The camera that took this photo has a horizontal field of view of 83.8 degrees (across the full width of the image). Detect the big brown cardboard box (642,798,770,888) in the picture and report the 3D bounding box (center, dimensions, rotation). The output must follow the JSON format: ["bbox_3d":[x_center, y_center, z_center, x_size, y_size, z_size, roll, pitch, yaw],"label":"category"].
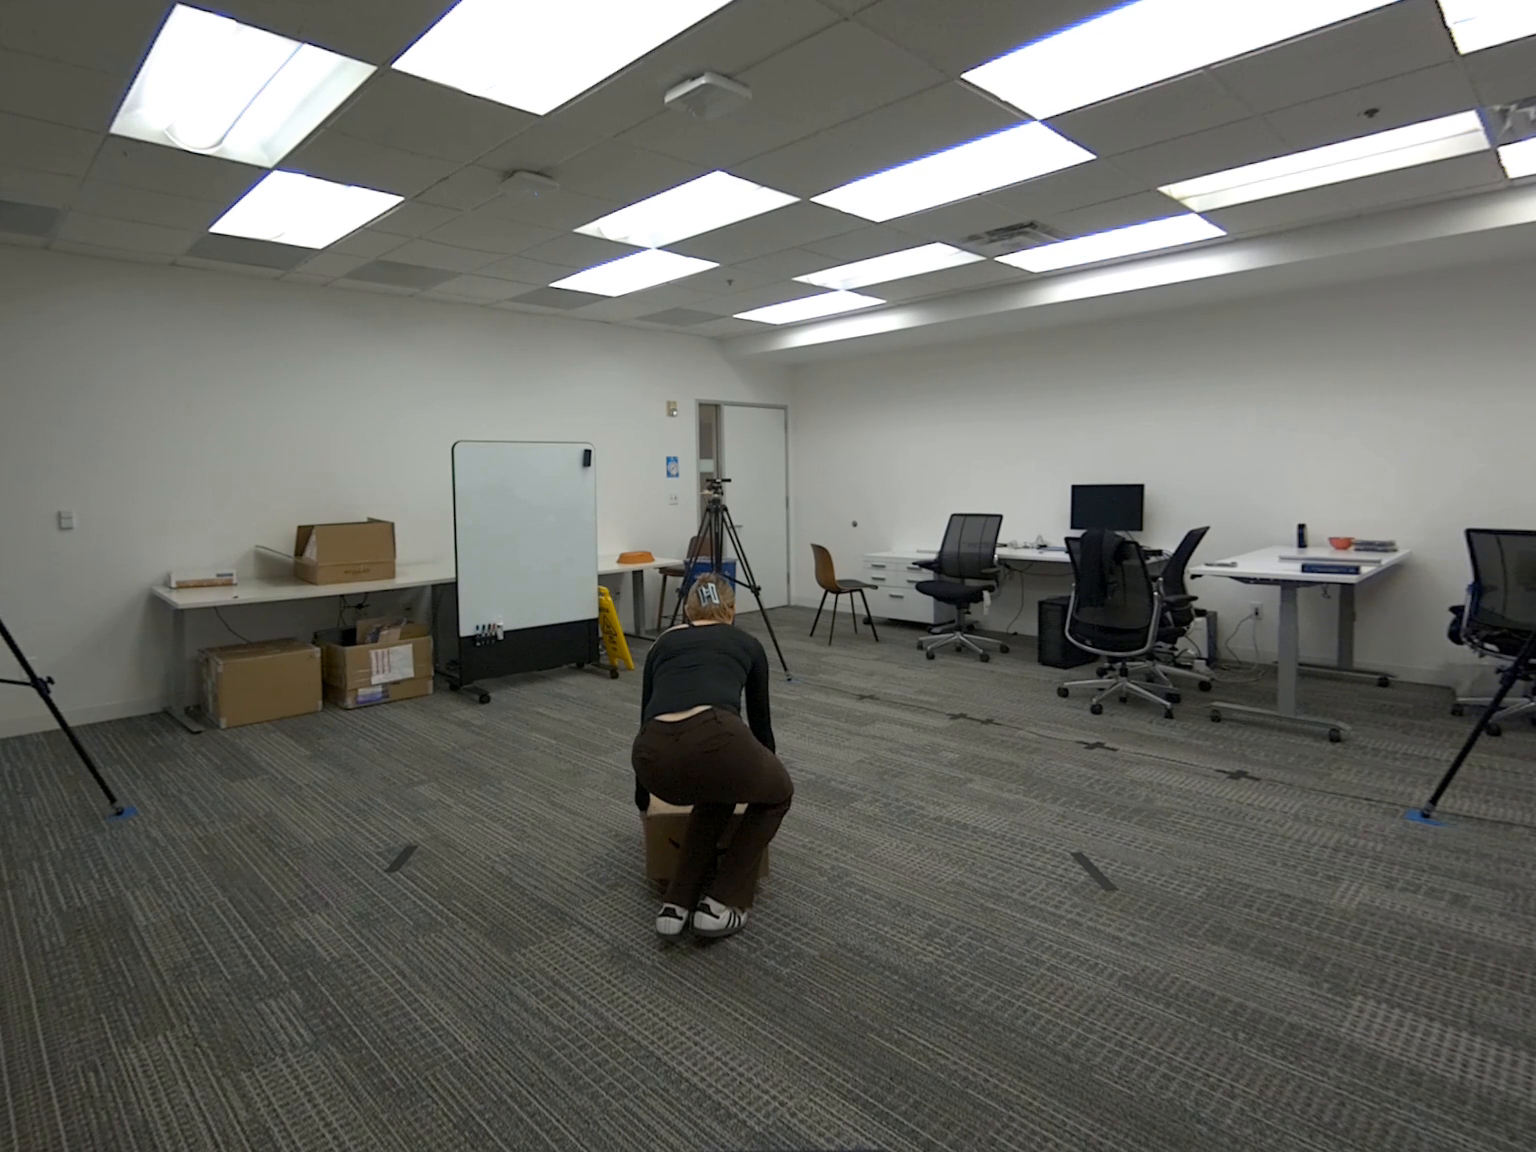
[{"bbox_3d":[-0.227,0.881,3.143,0.416,0.232,0.593,-1,4,-5],"label":"big brown cardboard box"}]
